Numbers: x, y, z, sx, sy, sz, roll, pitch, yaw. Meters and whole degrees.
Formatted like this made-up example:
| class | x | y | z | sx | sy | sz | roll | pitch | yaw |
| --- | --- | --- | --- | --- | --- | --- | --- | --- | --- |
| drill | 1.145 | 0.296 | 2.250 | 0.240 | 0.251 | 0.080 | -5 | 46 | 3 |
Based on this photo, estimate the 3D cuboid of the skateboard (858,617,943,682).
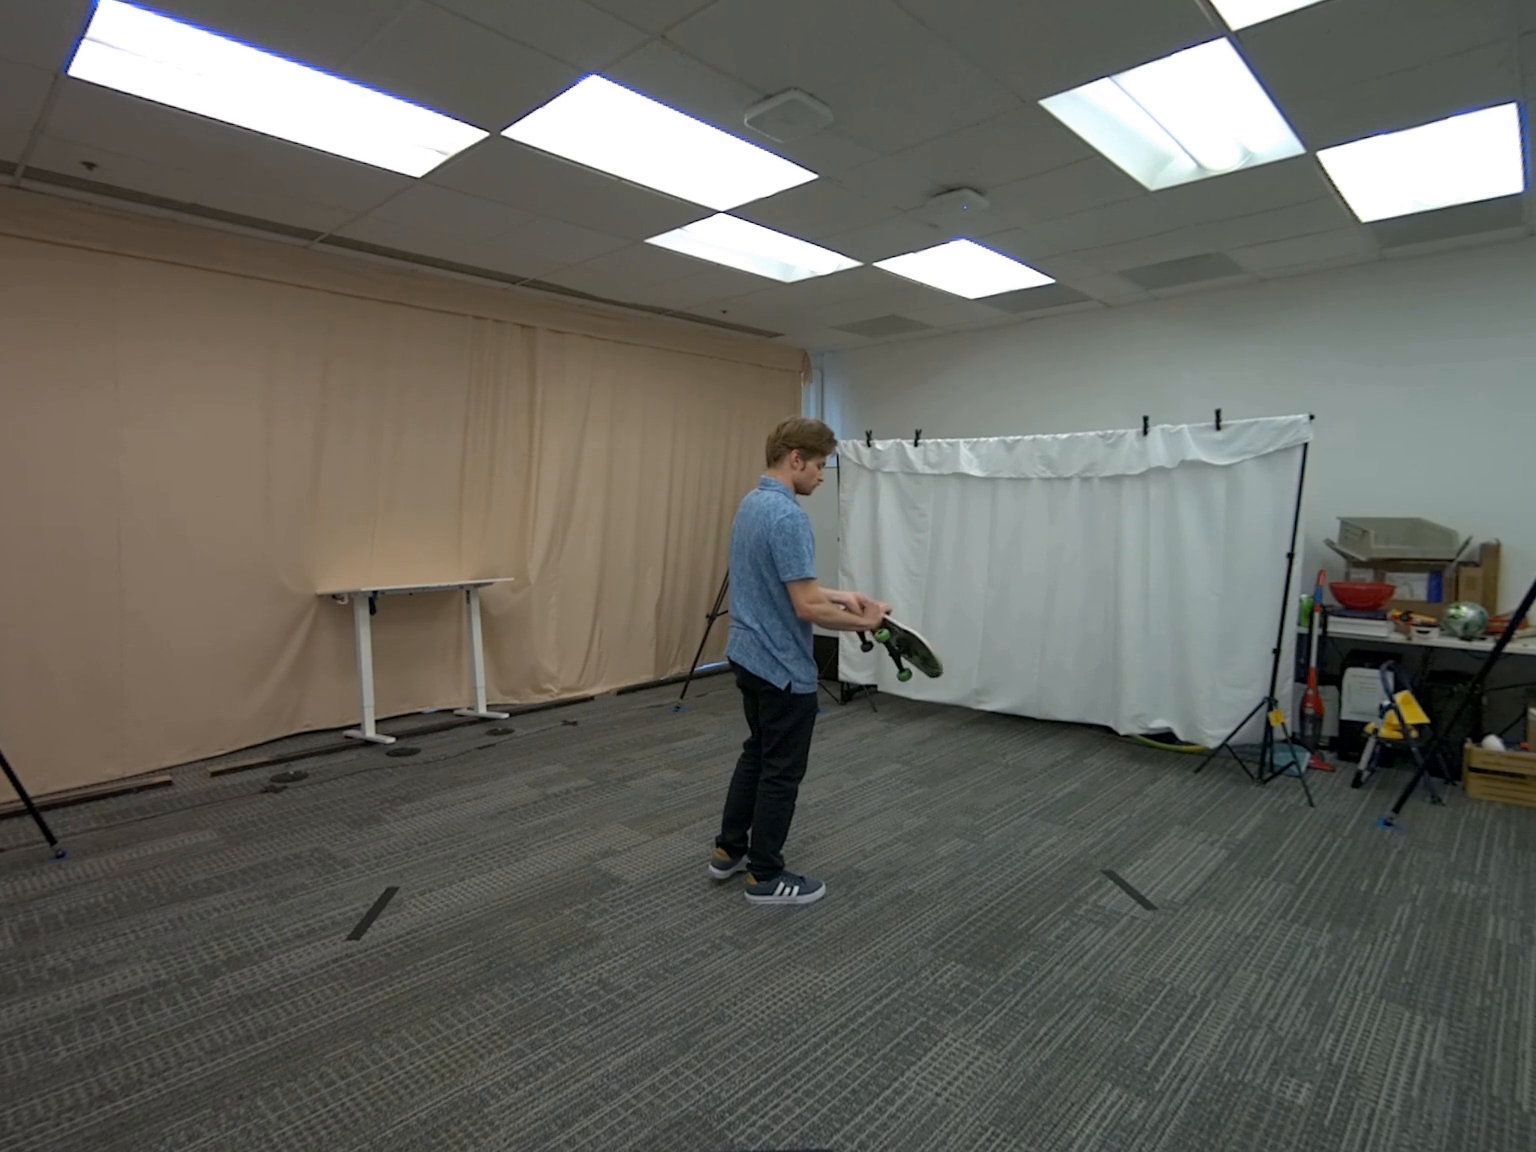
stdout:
| class | x | y | z | sx | sy | sz | roll | pitch | yaw |
| --- | --- | --- | --- | --- | --- | --- | --- | --- | --- |
| skateboard | 0.403 | 0.216 | 2.945 | 0.110 | 0.191 | 0.796 | -30 | 12 | -5 |
